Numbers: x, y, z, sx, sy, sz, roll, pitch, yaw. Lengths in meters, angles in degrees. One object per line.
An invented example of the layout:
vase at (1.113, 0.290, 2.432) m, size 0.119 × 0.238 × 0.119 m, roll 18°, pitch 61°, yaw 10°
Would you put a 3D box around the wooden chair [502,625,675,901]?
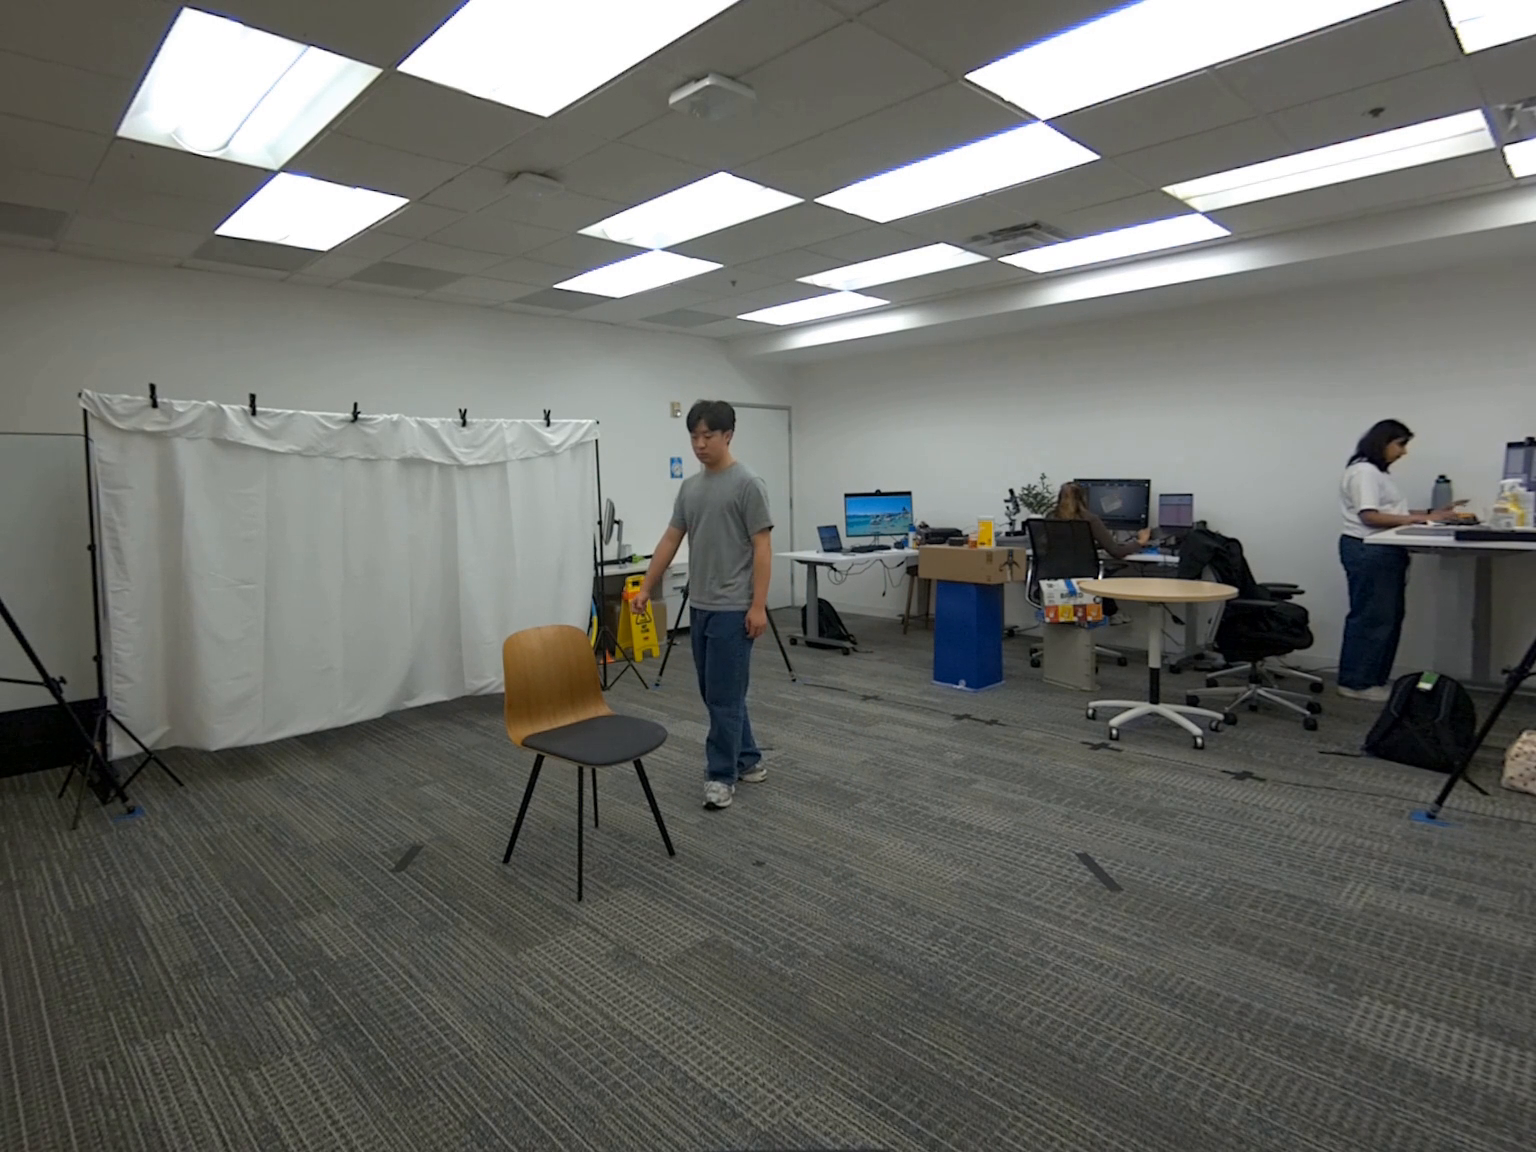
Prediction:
wooden chair at (-0.666, 0.630, 3.130) m, size 0.537 × 0.877 × 0.466 m, roll -4°, pitch 1°, yaw 41°
